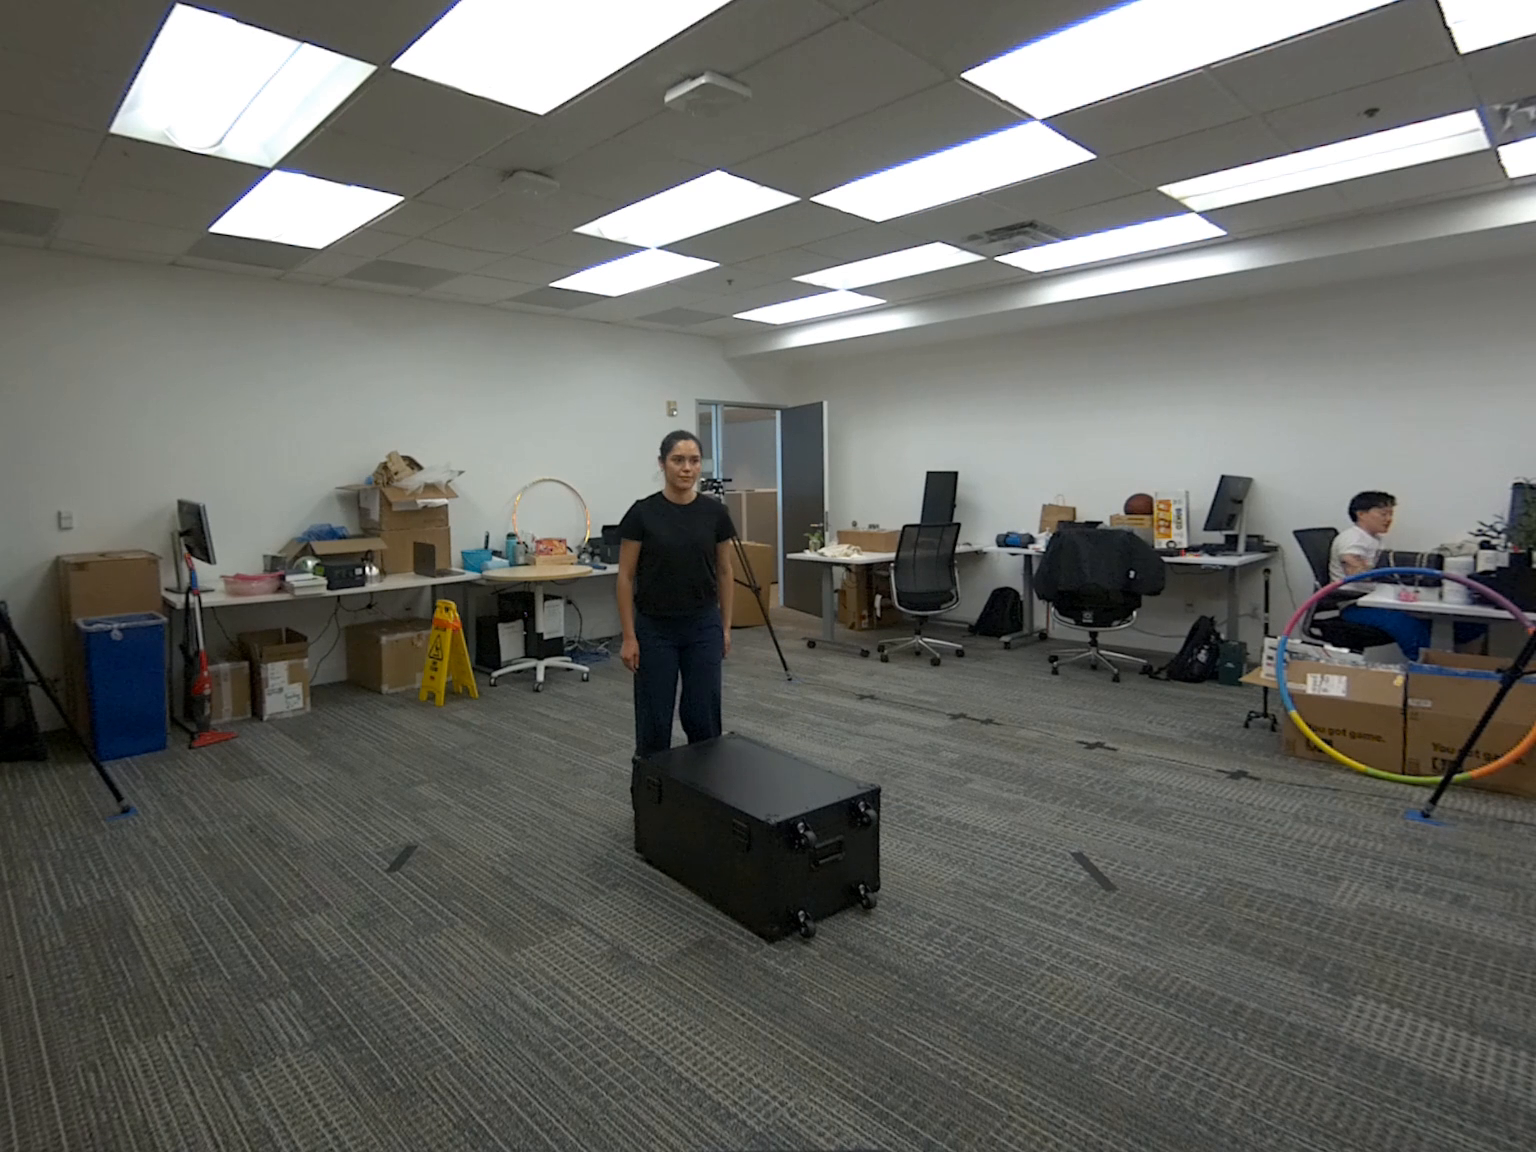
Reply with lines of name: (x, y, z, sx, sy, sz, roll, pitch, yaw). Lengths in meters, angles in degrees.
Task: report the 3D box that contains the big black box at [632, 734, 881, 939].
big black box: (-0.076, 0.867, 3.025, 0.508, 0.394, 0.888, -5, 7, -39)
